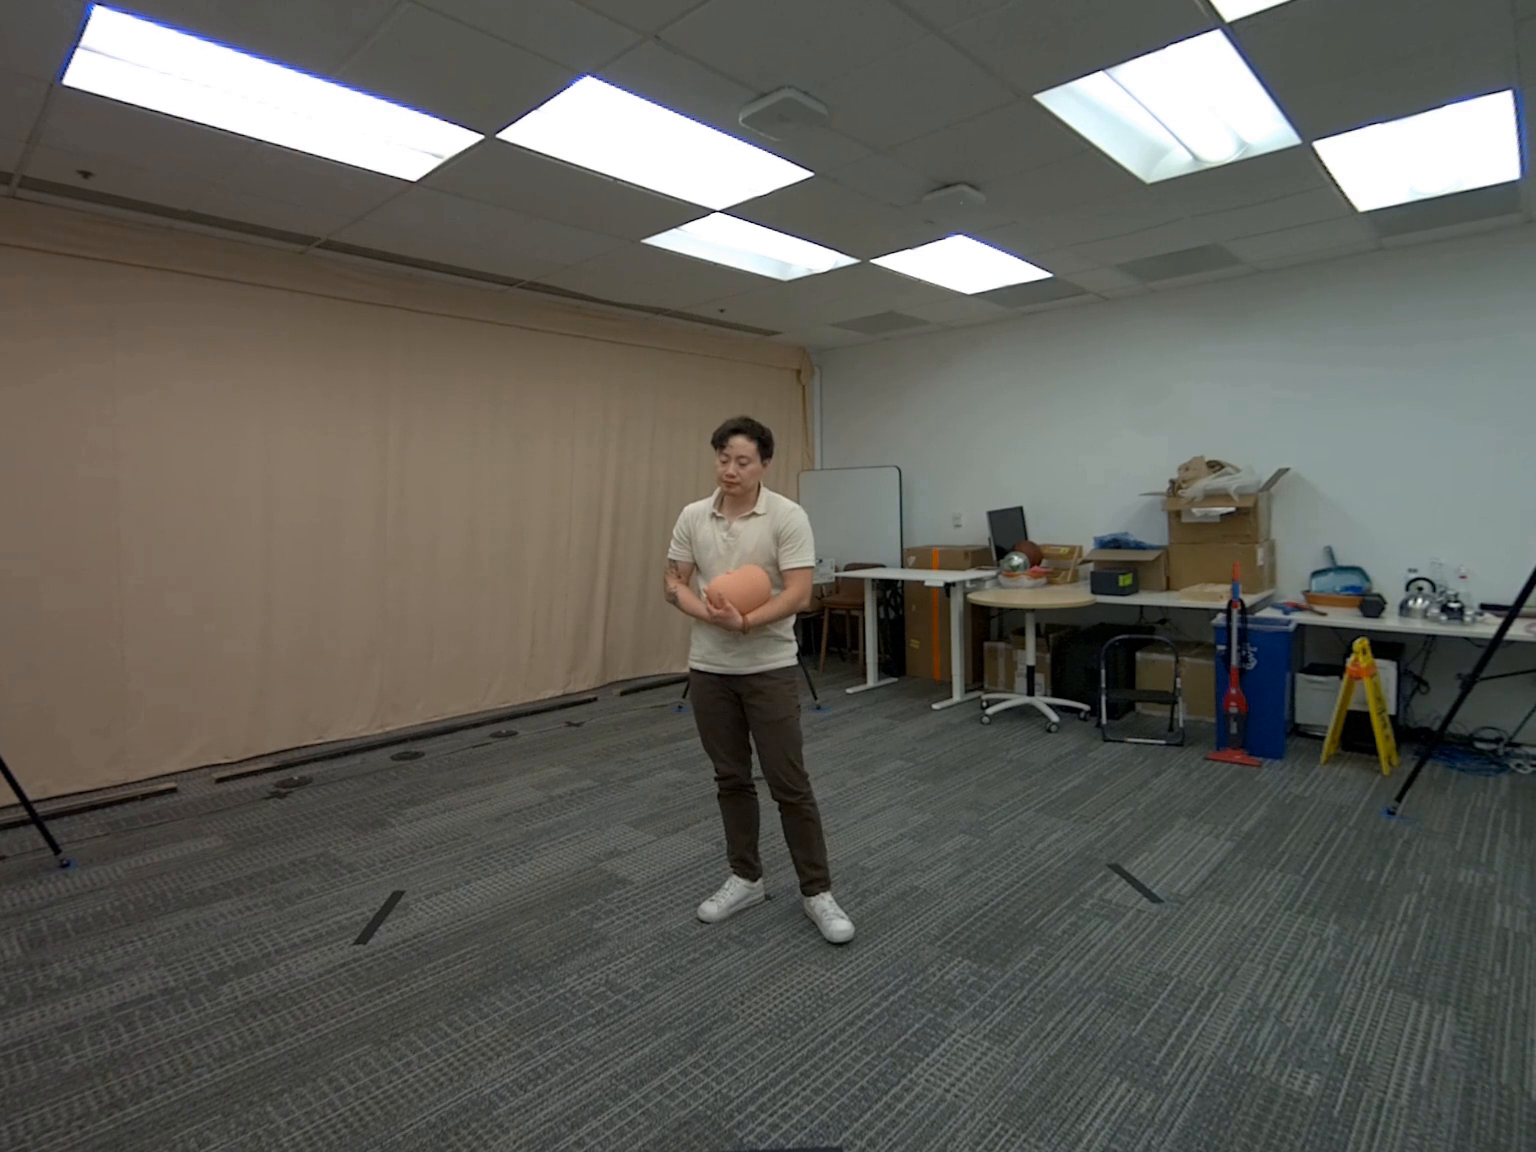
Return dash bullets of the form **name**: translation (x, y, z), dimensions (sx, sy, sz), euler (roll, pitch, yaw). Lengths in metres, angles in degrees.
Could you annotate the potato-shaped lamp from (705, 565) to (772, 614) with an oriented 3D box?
- **potato-shaped lamp**: translation (-0.070, 0.050, 2.699), dimensions (0.197, 0.176, 0.161), euler (-40, -24, -9)
